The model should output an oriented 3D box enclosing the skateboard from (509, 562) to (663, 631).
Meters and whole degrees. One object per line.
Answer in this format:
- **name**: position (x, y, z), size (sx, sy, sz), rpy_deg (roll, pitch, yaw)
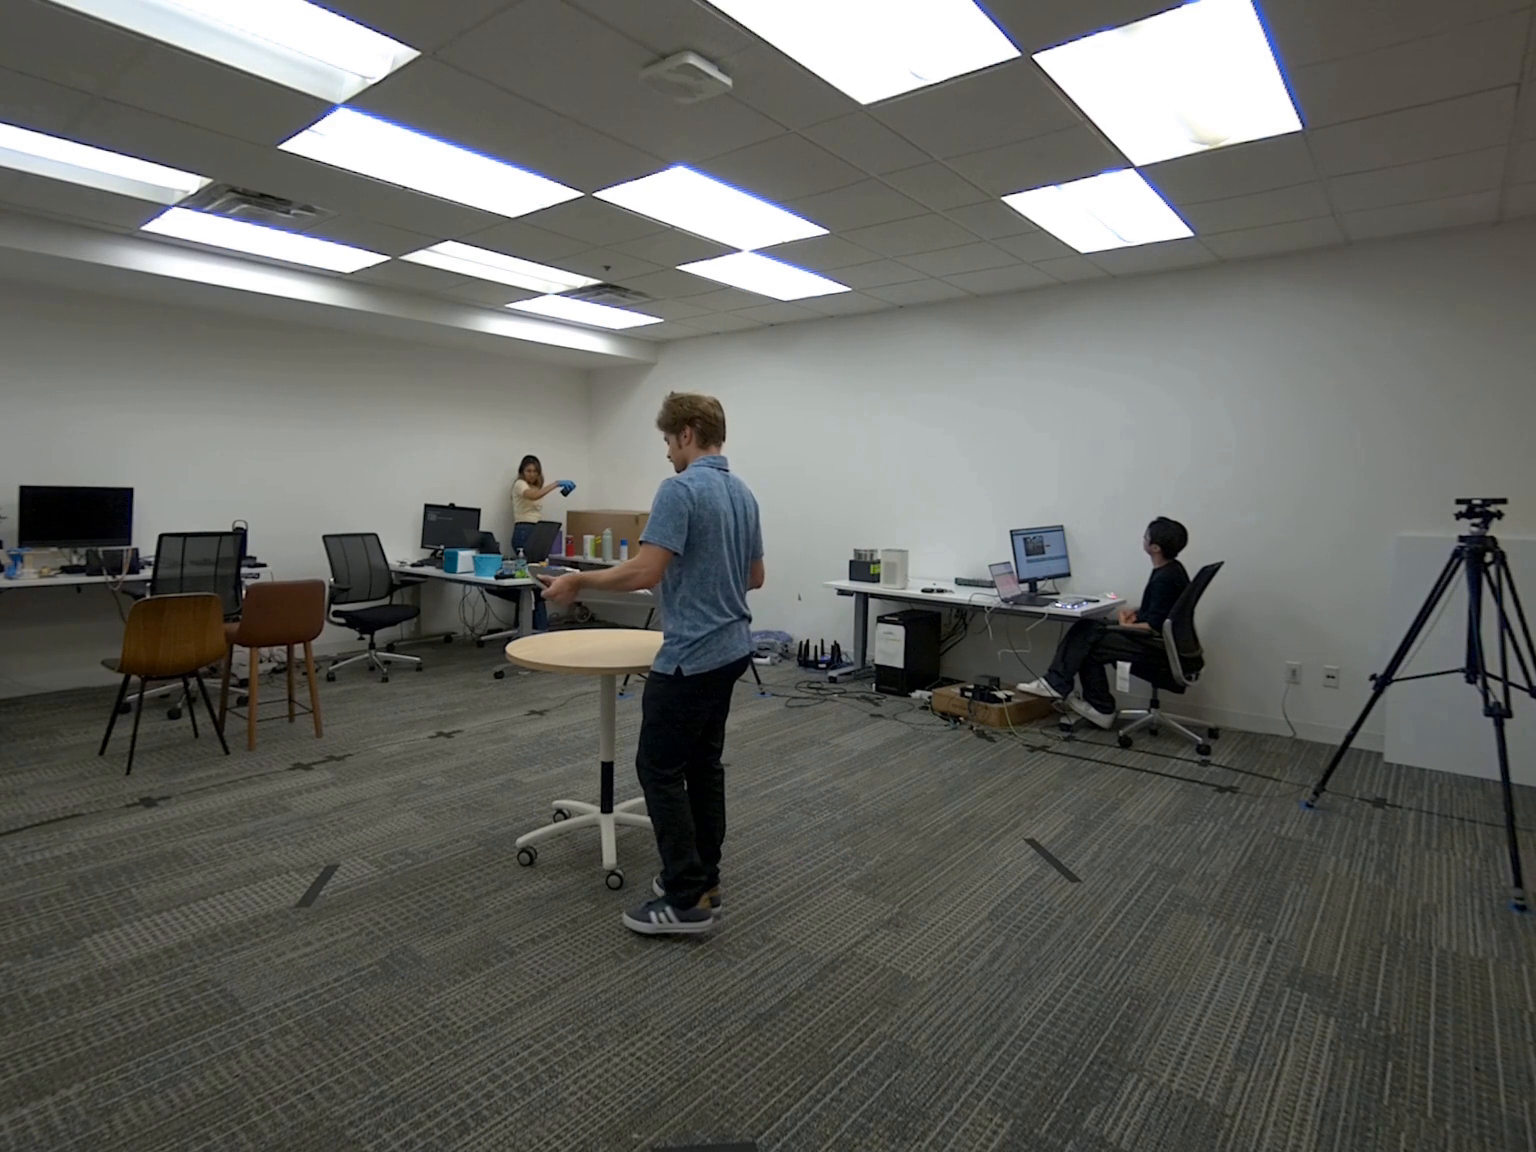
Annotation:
- **skateboard**: position (-0.498, 0.084, 2.943), size (0.758, 0.109, 0.202), rpy_deg (7, 25, -43)
